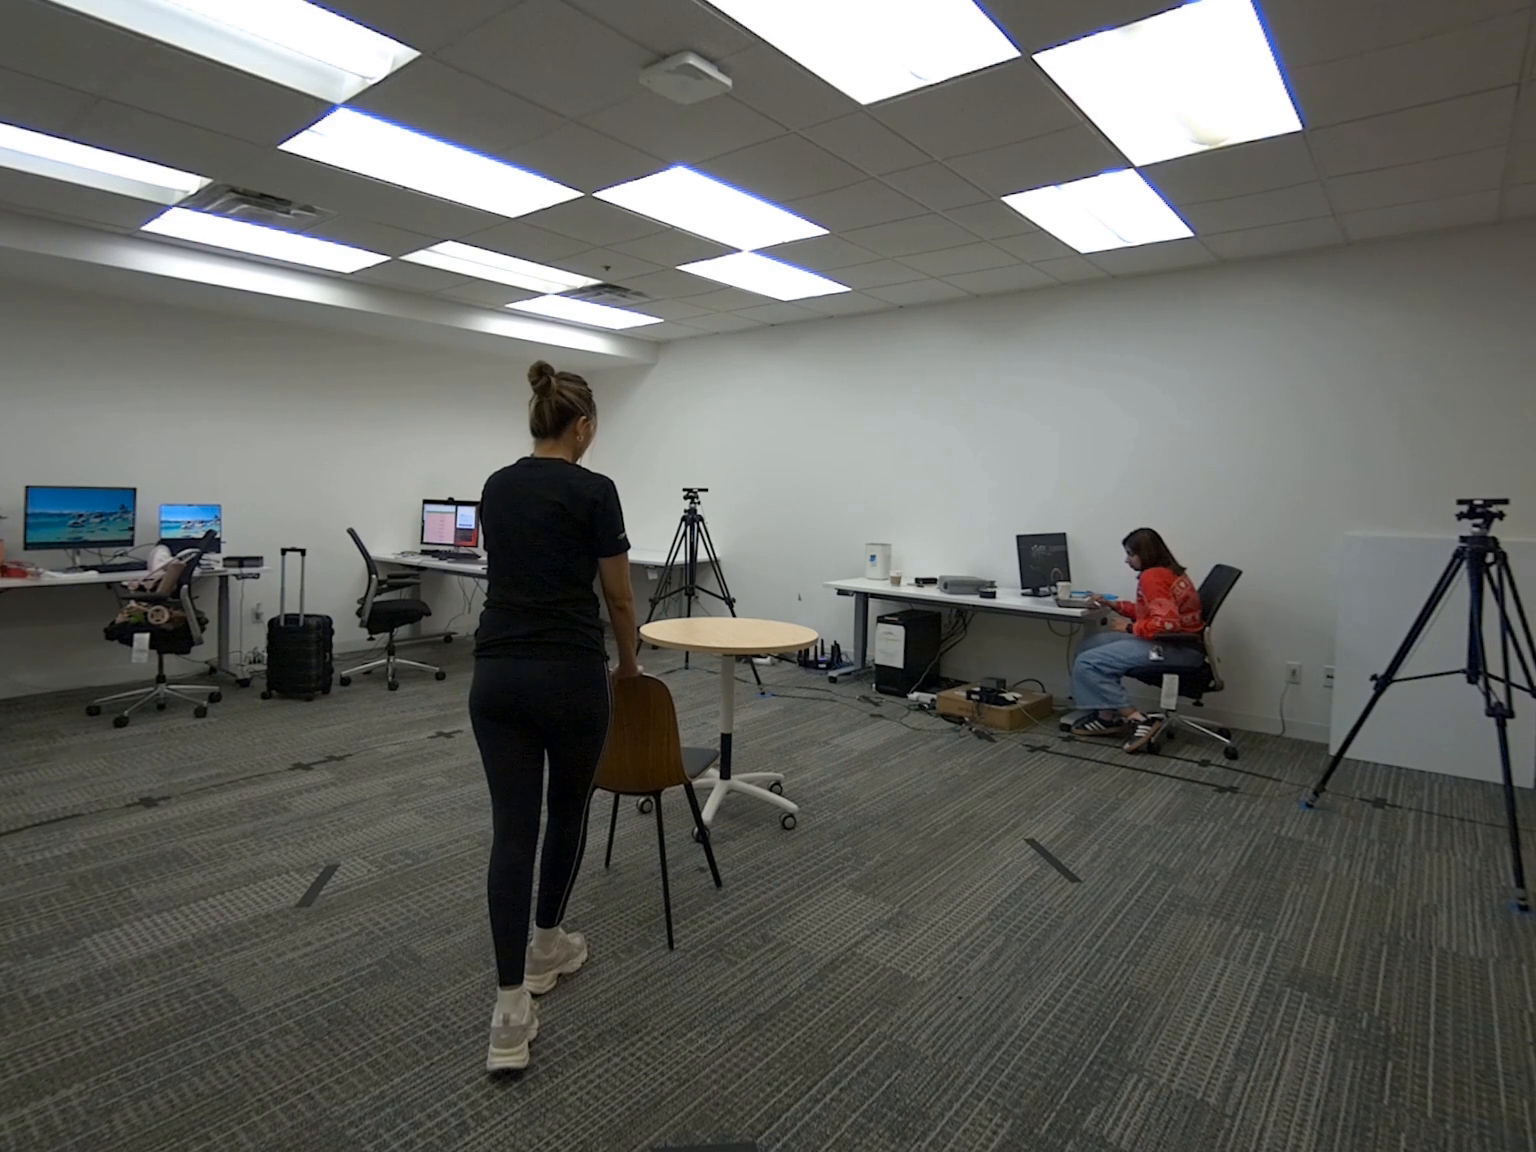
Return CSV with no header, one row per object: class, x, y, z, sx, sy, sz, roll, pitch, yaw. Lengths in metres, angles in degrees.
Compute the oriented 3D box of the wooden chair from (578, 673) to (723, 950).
wooden chair,-0.441,0.667,2.817,0.488,0.872,0.516,2,7,18
